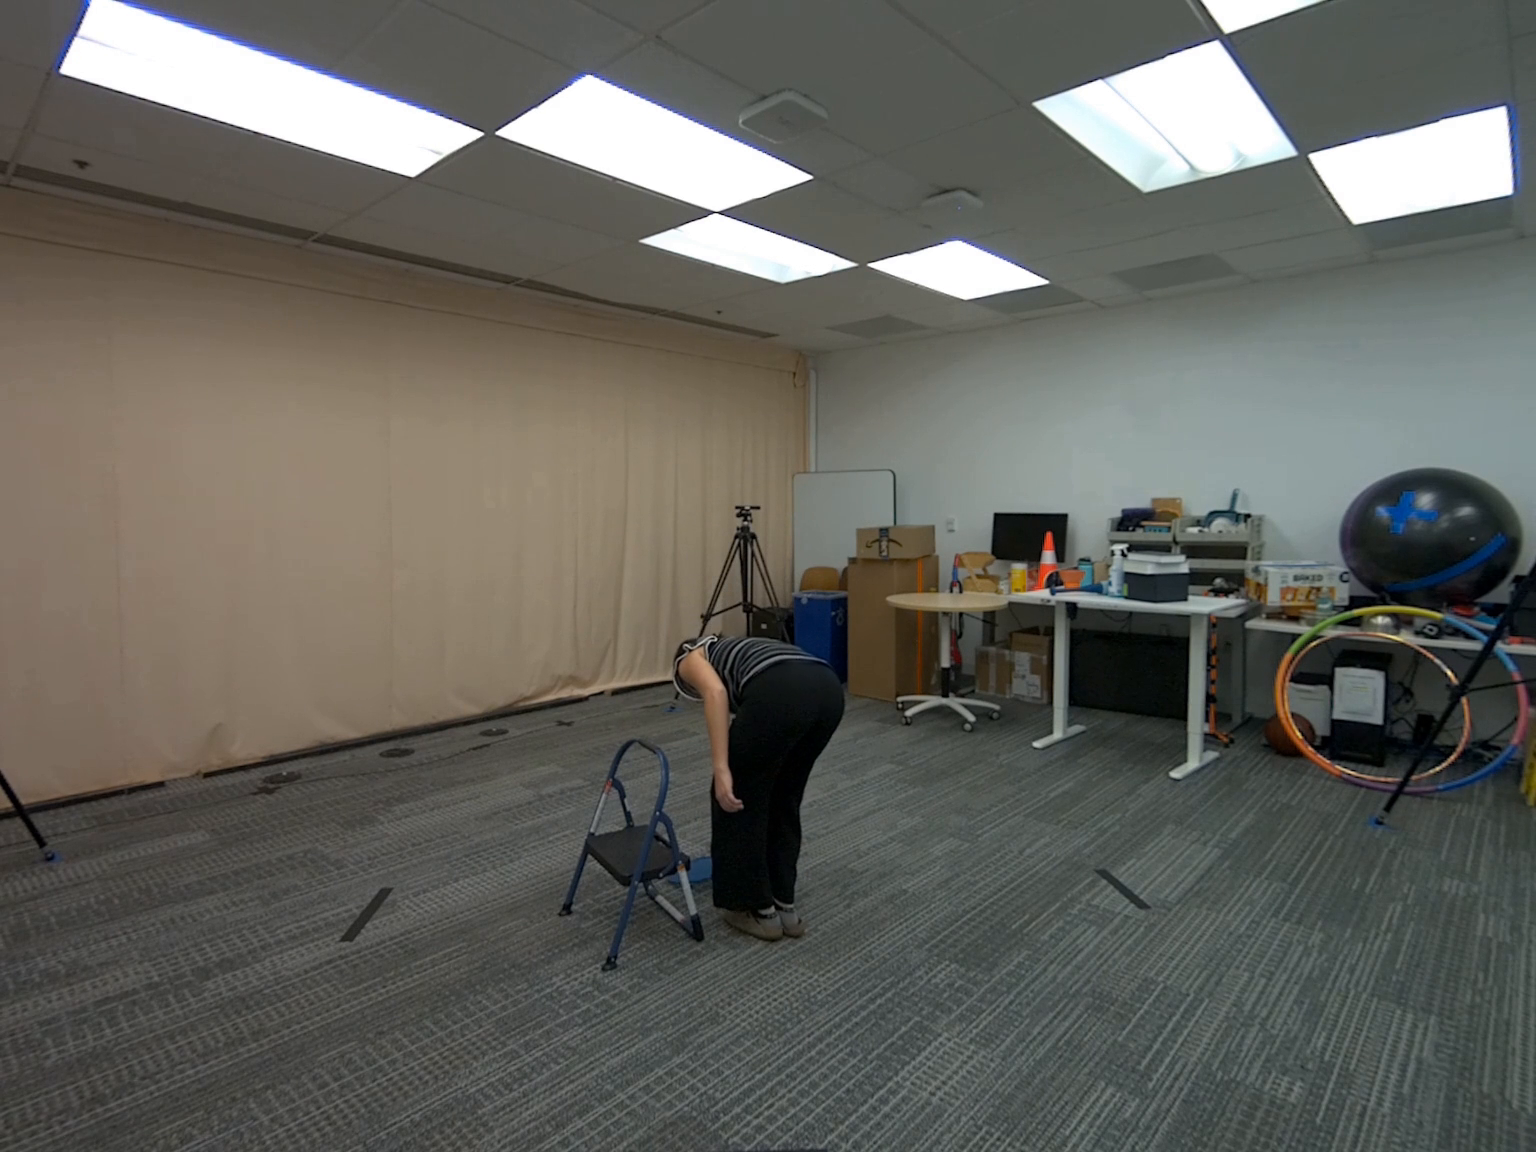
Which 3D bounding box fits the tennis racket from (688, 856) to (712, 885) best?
[{"bbox_3d":[-0.181,1.087,3.111,0.441,0.032,0.210,-10,2,20],"label":"tennis racket"}]
